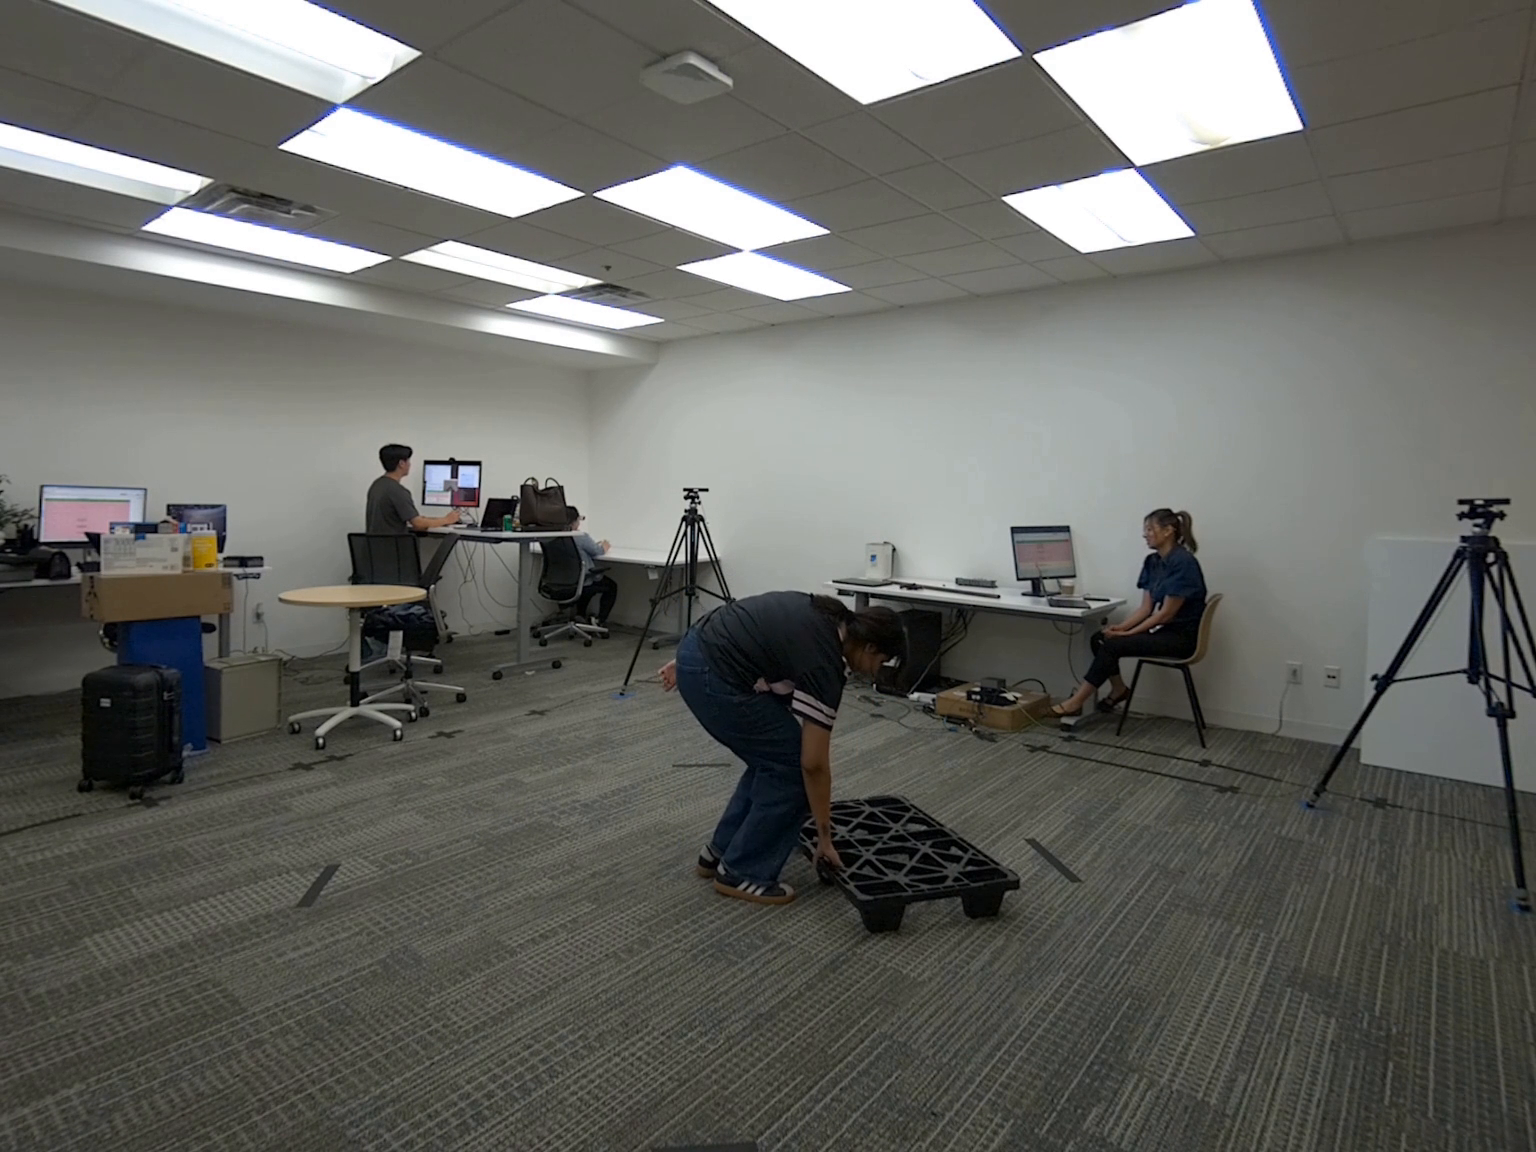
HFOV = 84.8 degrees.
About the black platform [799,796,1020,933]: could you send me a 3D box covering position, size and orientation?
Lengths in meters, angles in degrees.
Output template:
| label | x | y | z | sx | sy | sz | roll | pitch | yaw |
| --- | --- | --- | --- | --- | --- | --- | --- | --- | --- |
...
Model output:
| label | x | y | z | sx | sy | sz | roll | pitch | yaw |
| --- | --- | --- | --- | --- | --- | --- | --- | --- | --- |
| black platform | 0.416 | 1.016 | 3.096 | 0.593 | 0.143 | 0.825 | 0 | 6 | -20 |
